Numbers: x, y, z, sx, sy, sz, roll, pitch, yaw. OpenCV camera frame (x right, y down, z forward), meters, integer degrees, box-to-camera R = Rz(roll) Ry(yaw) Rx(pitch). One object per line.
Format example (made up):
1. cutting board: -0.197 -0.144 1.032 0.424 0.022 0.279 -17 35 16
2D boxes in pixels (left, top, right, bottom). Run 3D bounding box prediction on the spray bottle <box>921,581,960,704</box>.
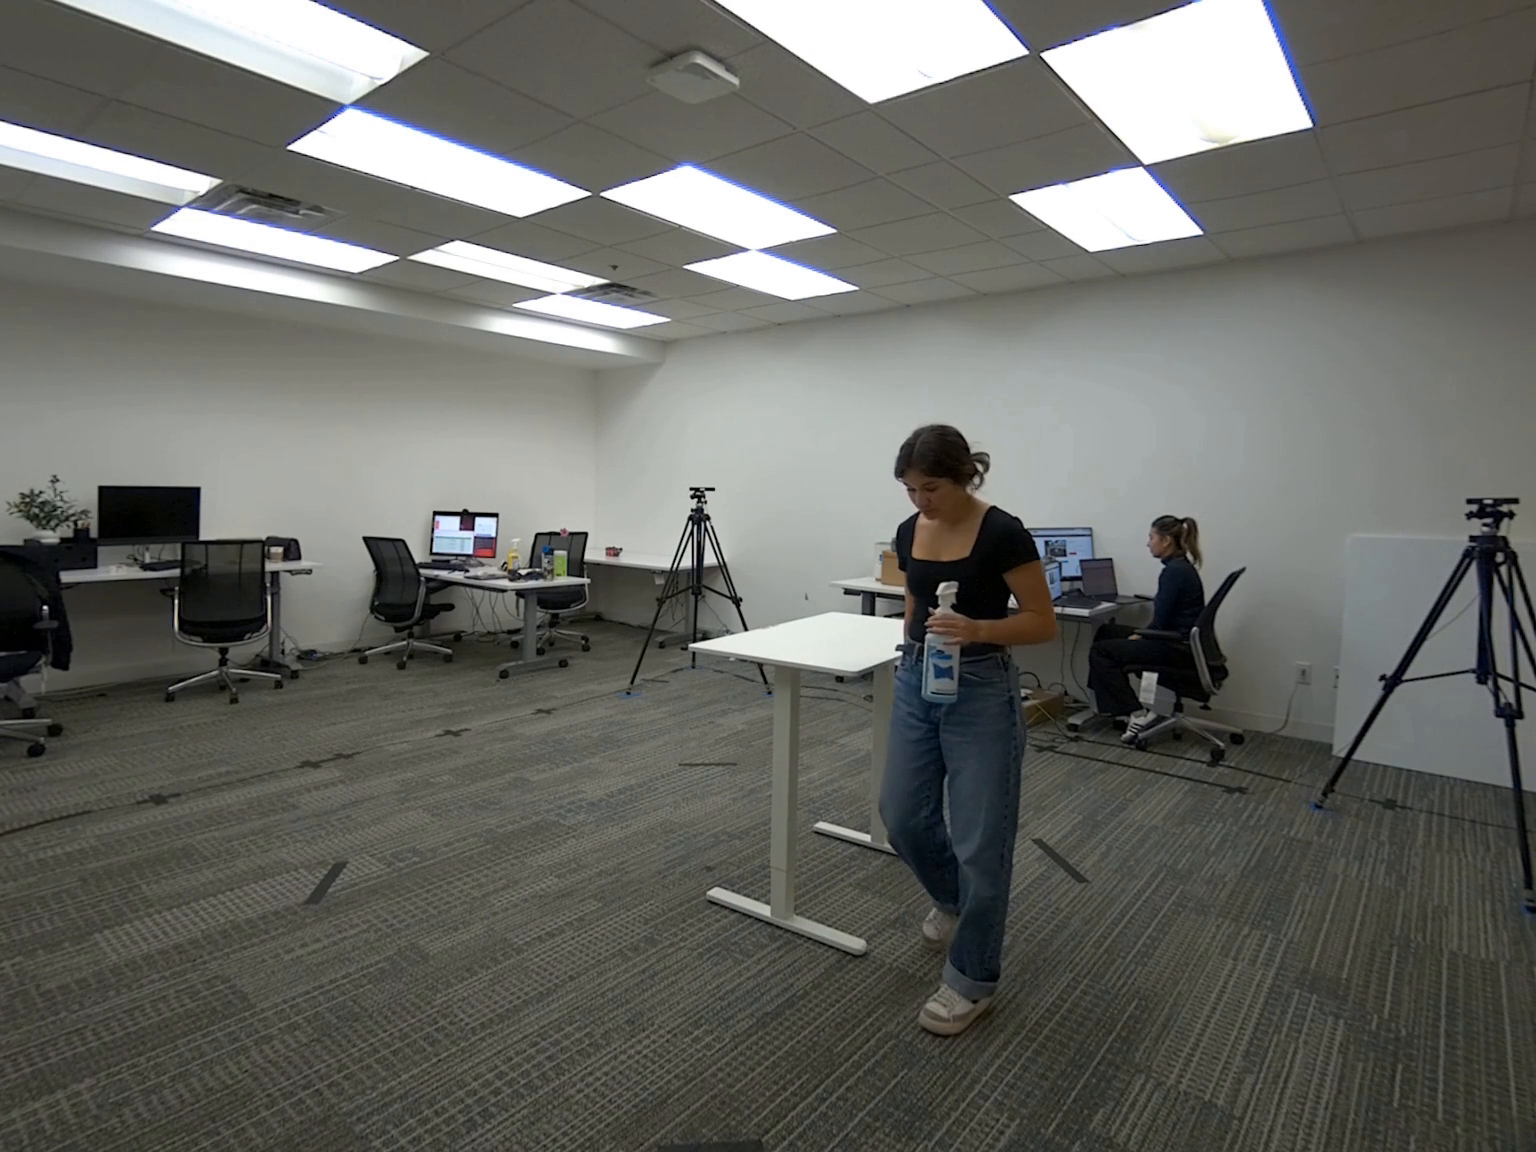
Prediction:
1. spray bottle: 0.434 0.162 2.139 0.088 0.297 0.089 2 3 -25
